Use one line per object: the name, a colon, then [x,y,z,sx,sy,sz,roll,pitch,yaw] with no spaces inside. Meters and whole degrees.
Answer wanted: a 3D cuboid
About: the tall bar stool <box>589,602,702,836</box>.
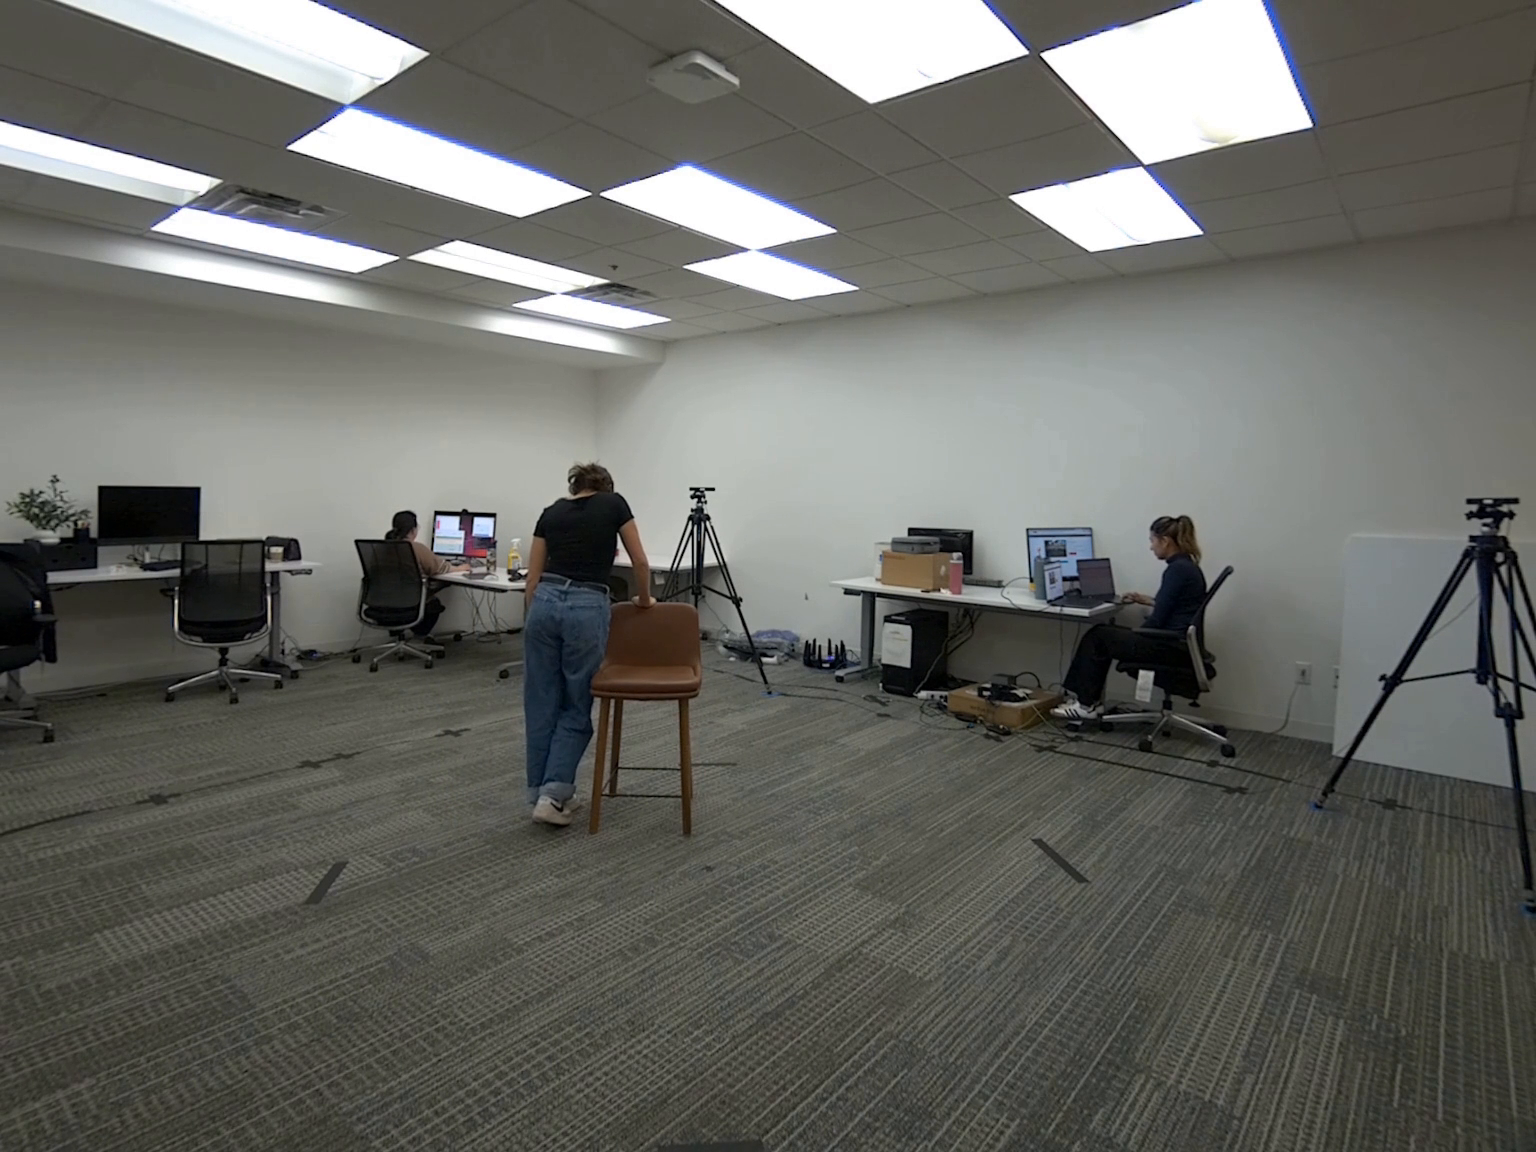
tall bar stool: [-0.522,0.577,3.614,0.457,0.889,0.468,0,1,-1]
